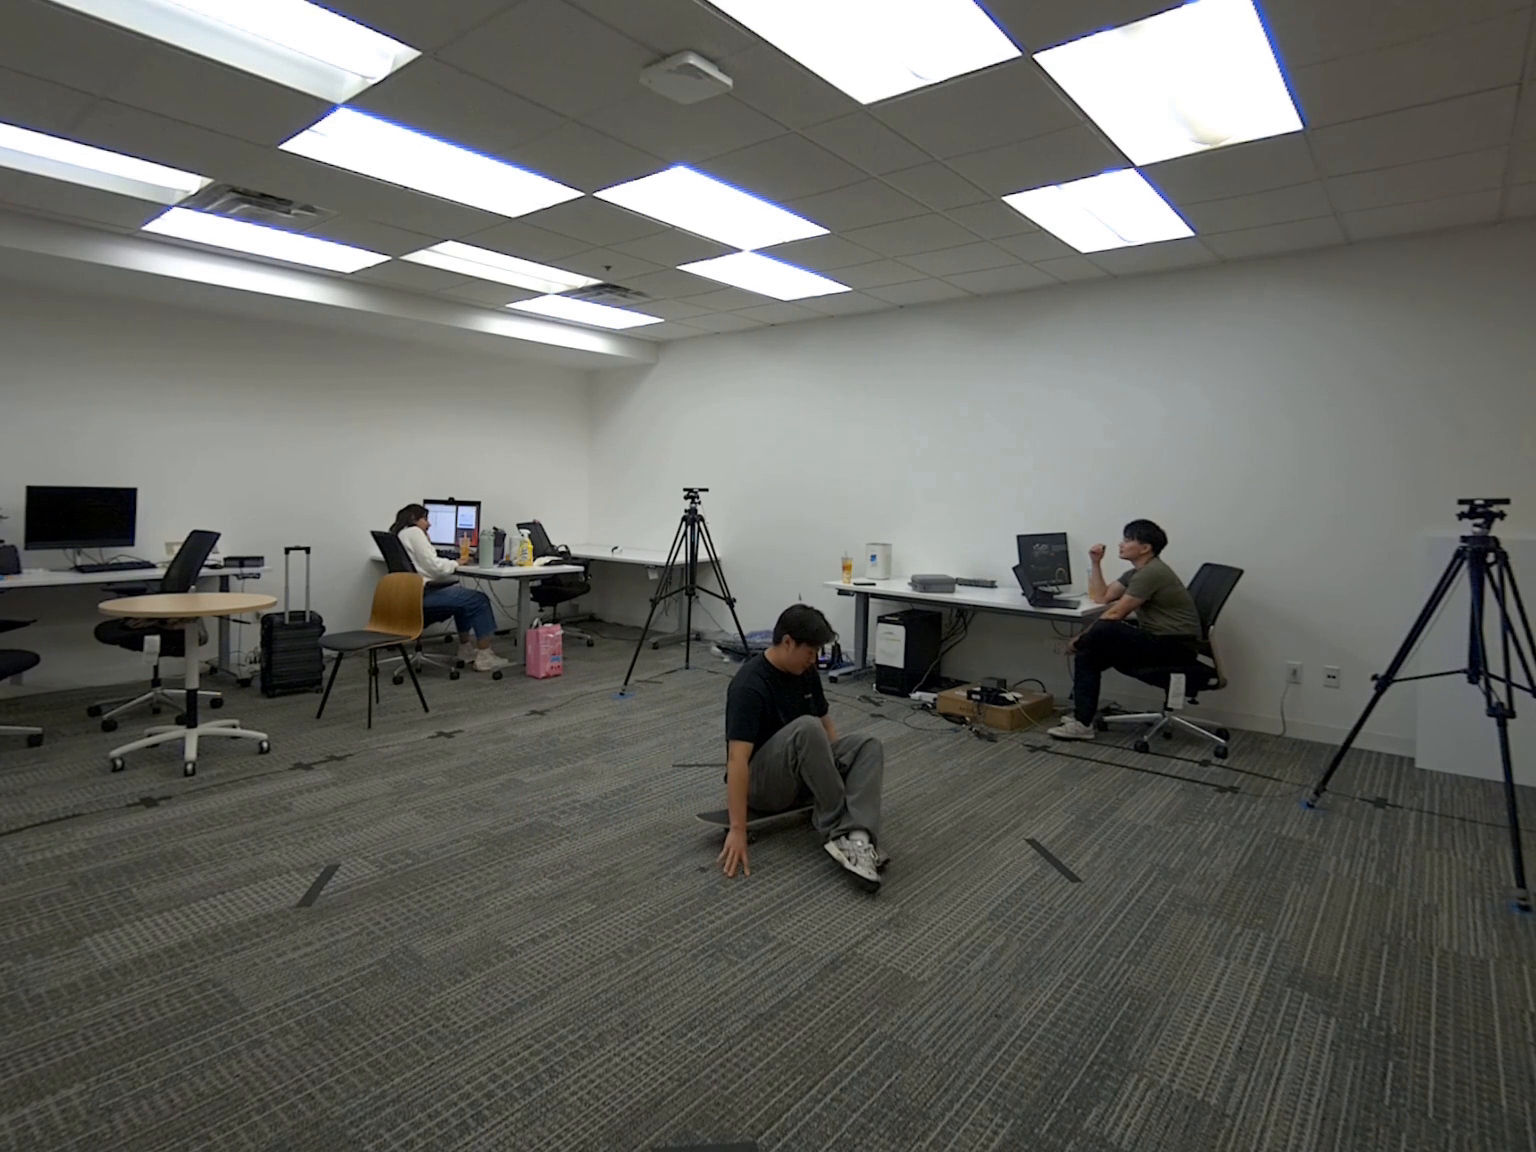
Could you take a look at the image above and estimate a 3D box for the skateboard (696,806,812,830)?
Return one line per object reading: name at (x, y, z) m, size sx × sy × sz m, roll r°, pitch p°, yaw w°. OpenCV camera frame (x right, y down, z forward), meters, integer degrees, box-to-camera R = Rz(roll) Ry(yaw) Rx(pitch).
skateboard at (0.039, 0.976, 3.523) m, size 0.762 × 0.110 × 0.199 m, roll -2°, pitch 0°, yaw -37°
